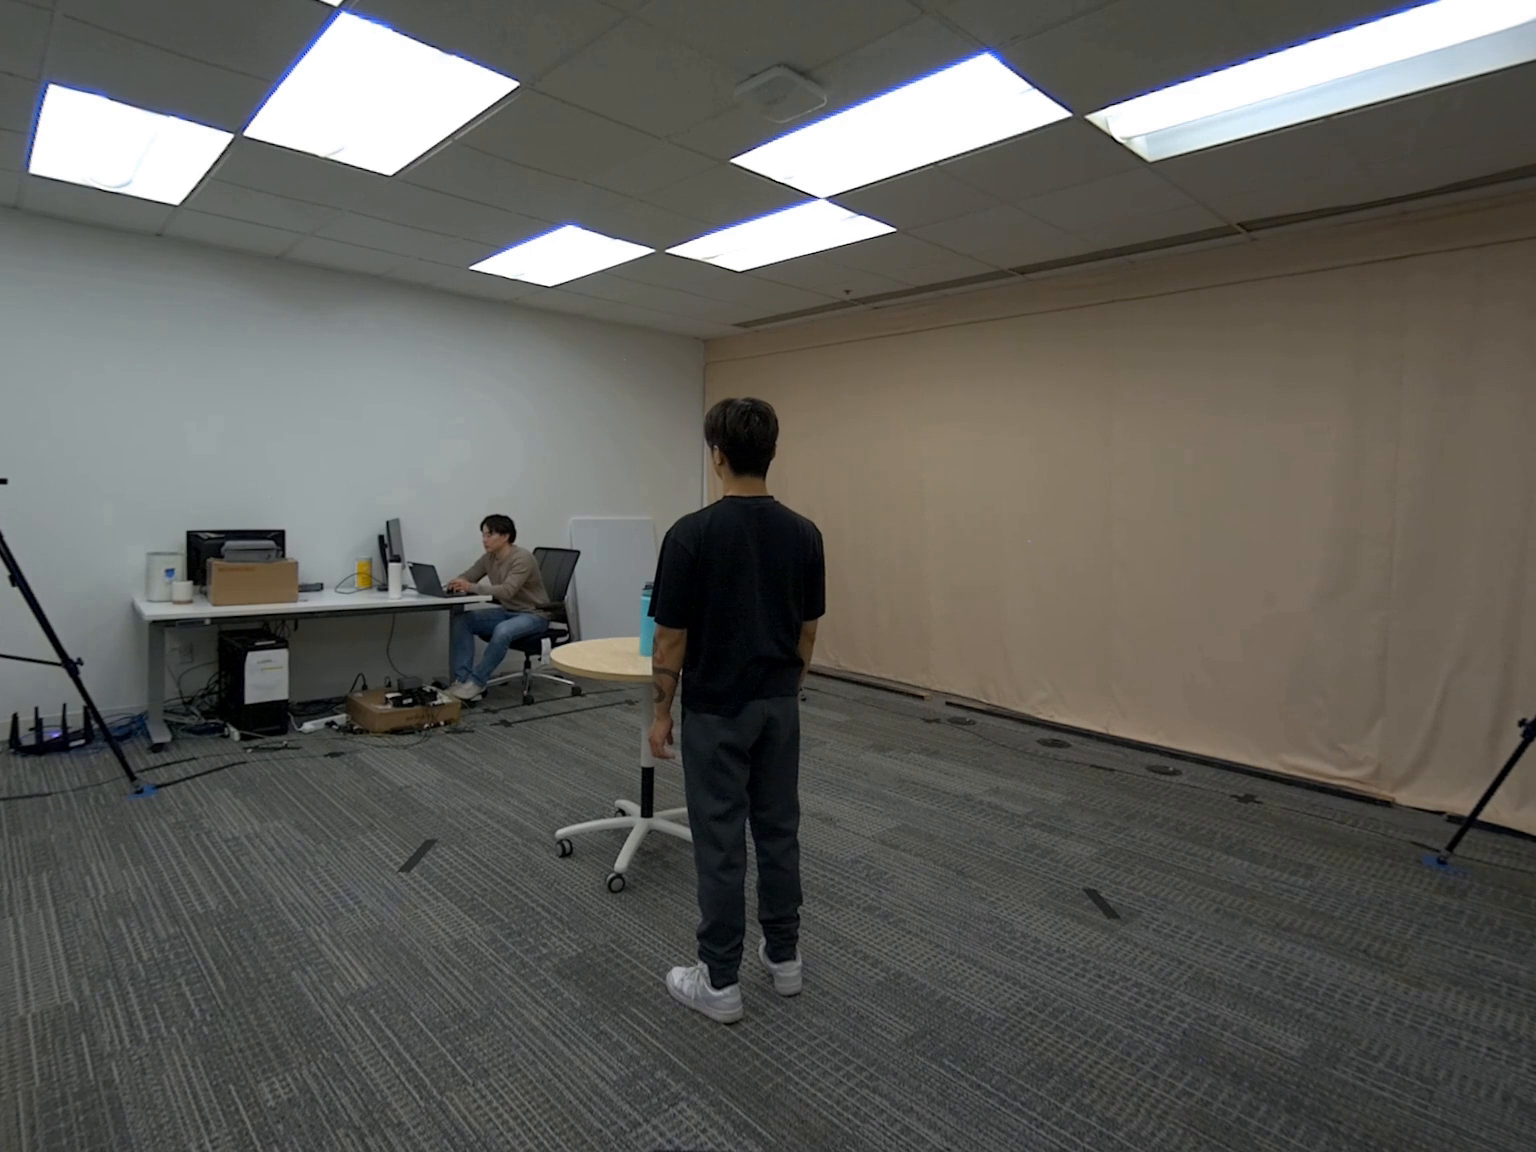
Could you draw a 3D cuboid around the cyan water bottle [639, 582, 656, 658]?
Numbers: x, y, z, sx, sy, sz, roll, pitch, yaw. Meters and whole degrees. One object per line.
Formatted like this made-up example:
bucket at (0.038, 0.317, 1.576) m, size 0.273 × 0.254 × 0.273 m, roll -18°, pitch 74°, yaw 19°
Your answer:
cyan water bottle at (-0.463, 0.170, 3.251) m, size 0.092 × 0.282 × 0.093 m, roll 2°, pitch 6°, yaw -2°
